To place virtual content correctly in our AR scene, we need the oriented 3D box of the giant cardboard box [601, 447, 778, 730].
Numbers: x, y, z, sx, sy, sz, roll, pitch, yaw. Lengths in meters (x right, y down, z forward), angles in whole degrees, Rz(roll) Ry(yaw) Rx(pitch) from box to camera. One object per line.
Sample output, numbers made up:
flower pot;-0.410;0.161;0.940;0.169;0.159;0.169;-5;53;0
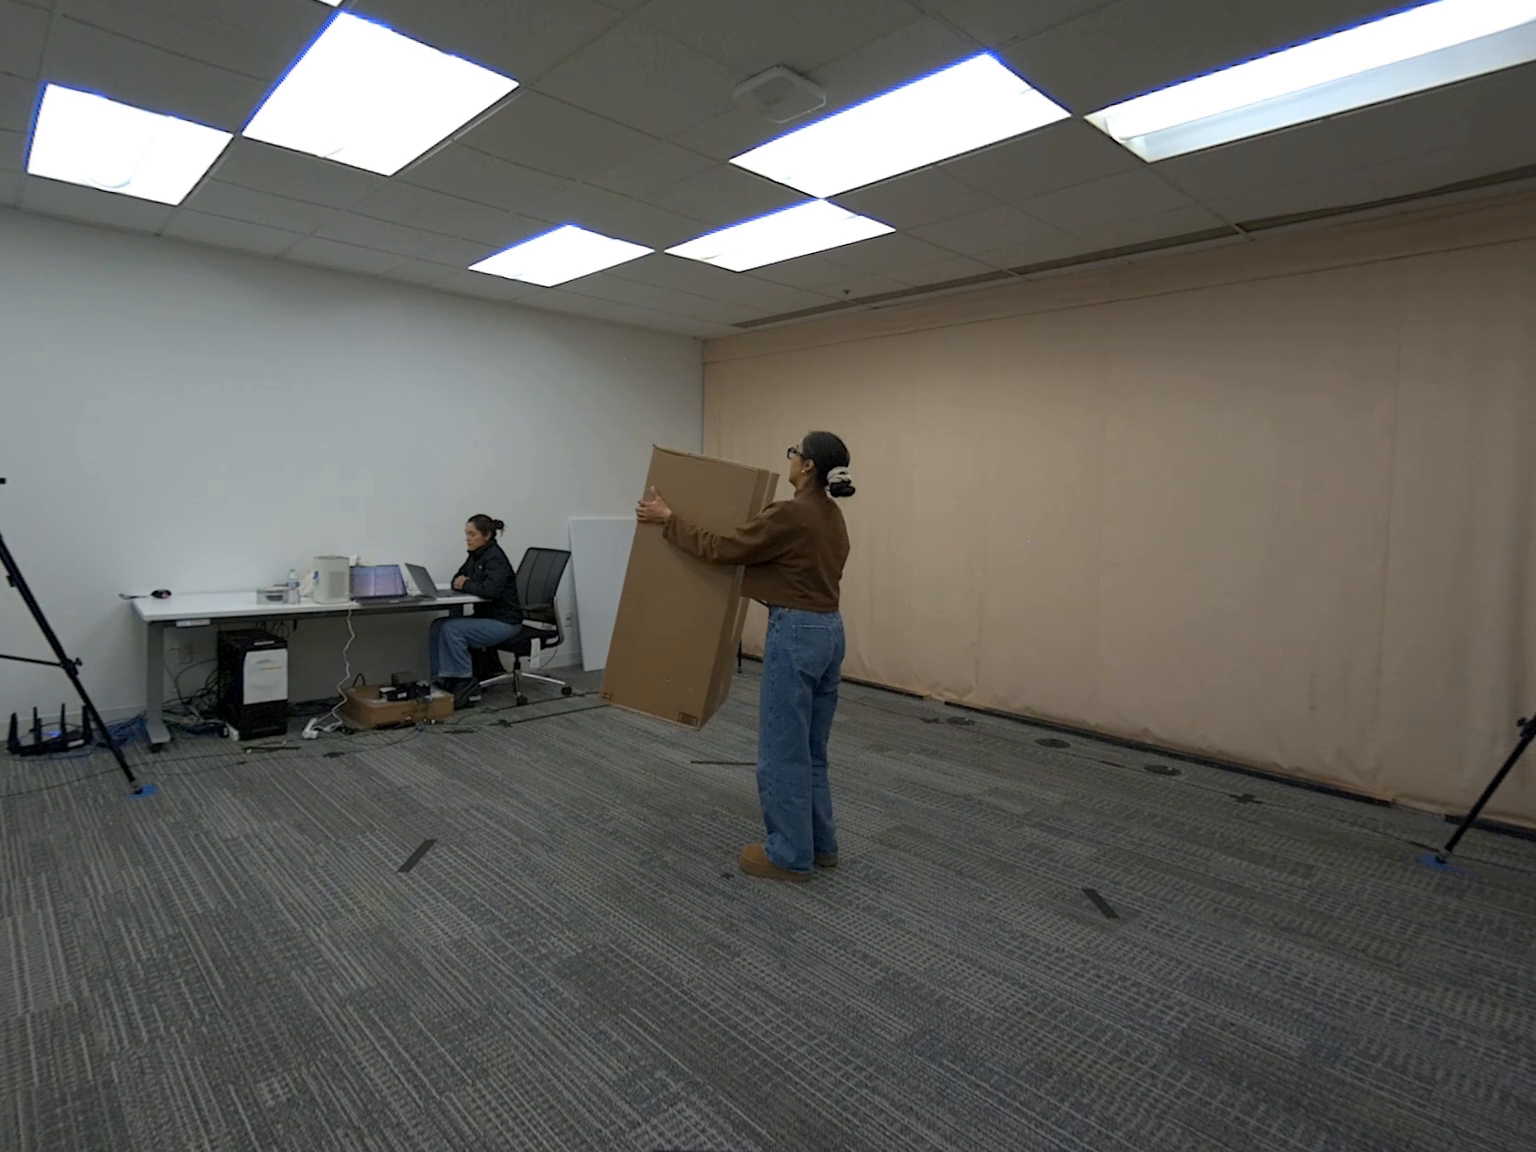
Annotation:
giant cardboard box;-0.312;0.031;3.465;0.430;1.023;0.574;14;5;8
